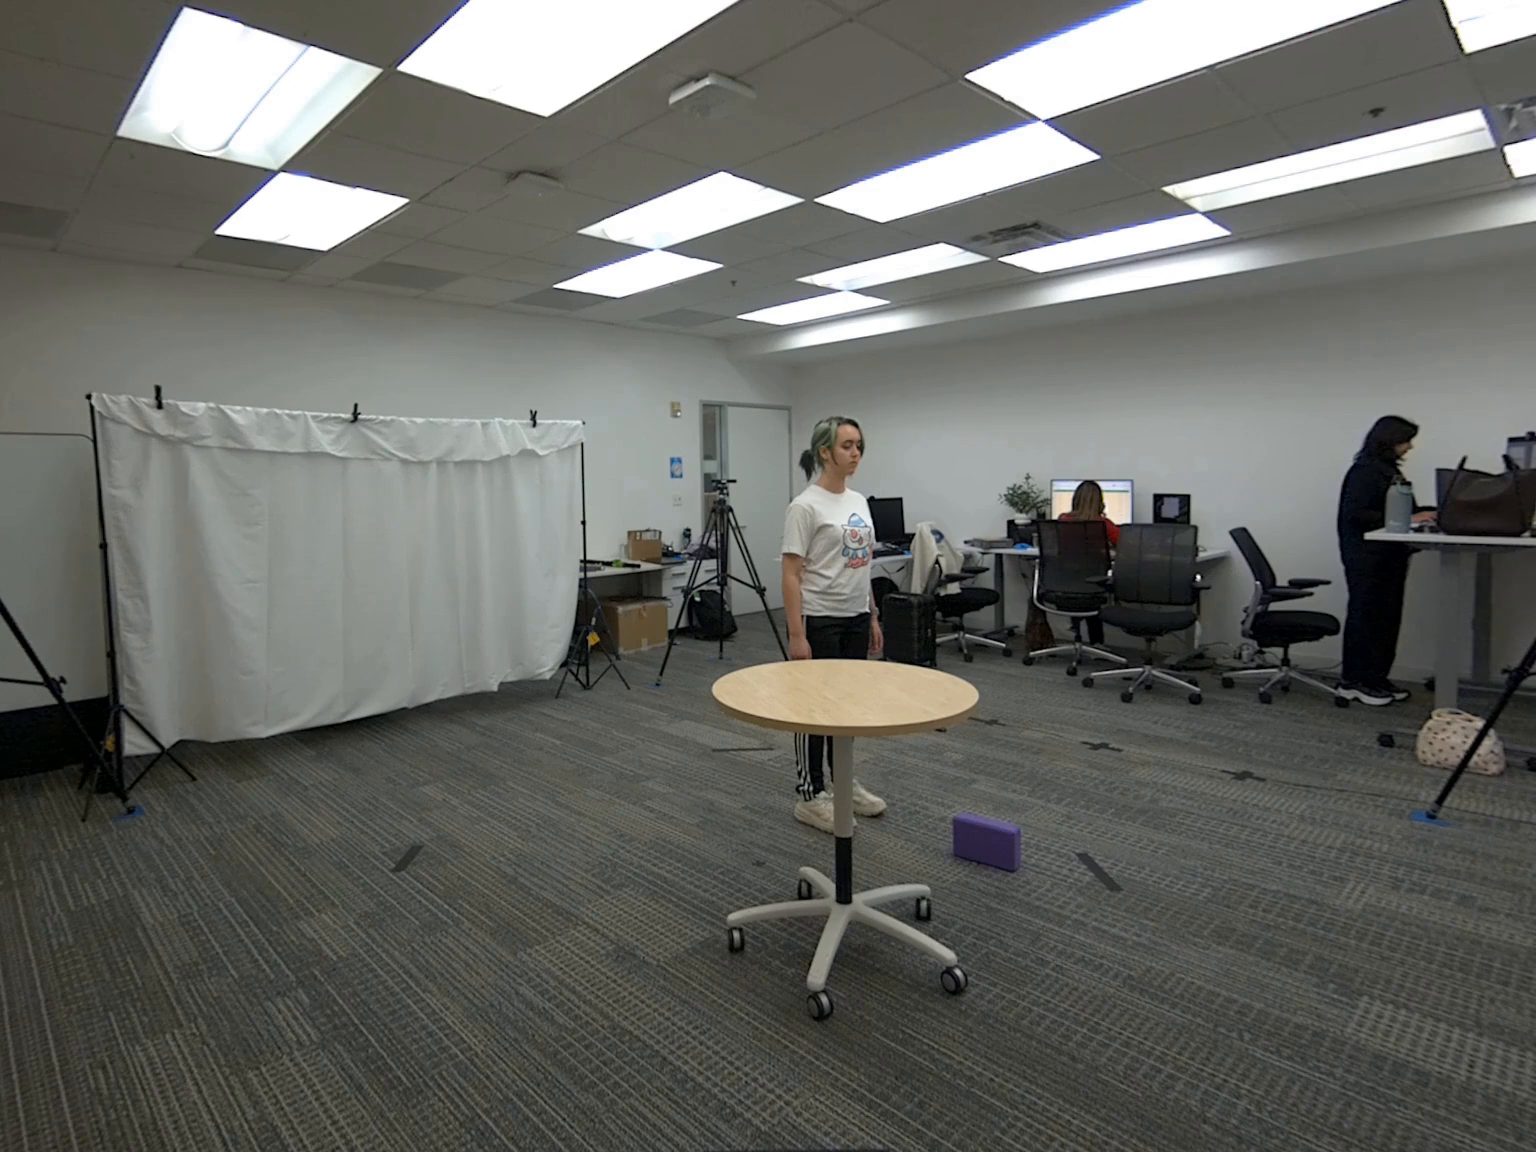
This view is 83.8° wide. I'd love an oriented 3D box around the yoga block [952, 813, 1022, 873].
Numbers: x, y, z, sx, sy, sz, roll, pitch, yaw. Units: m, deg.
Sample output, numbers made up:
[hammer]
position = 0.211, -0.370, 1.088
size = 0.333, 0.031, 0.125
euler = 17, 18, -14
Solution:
[yoga block]
position = 0.797, 0.959, 3.090
size = 0.236, 0.148, 0.074
euler = 4, 7, 39
